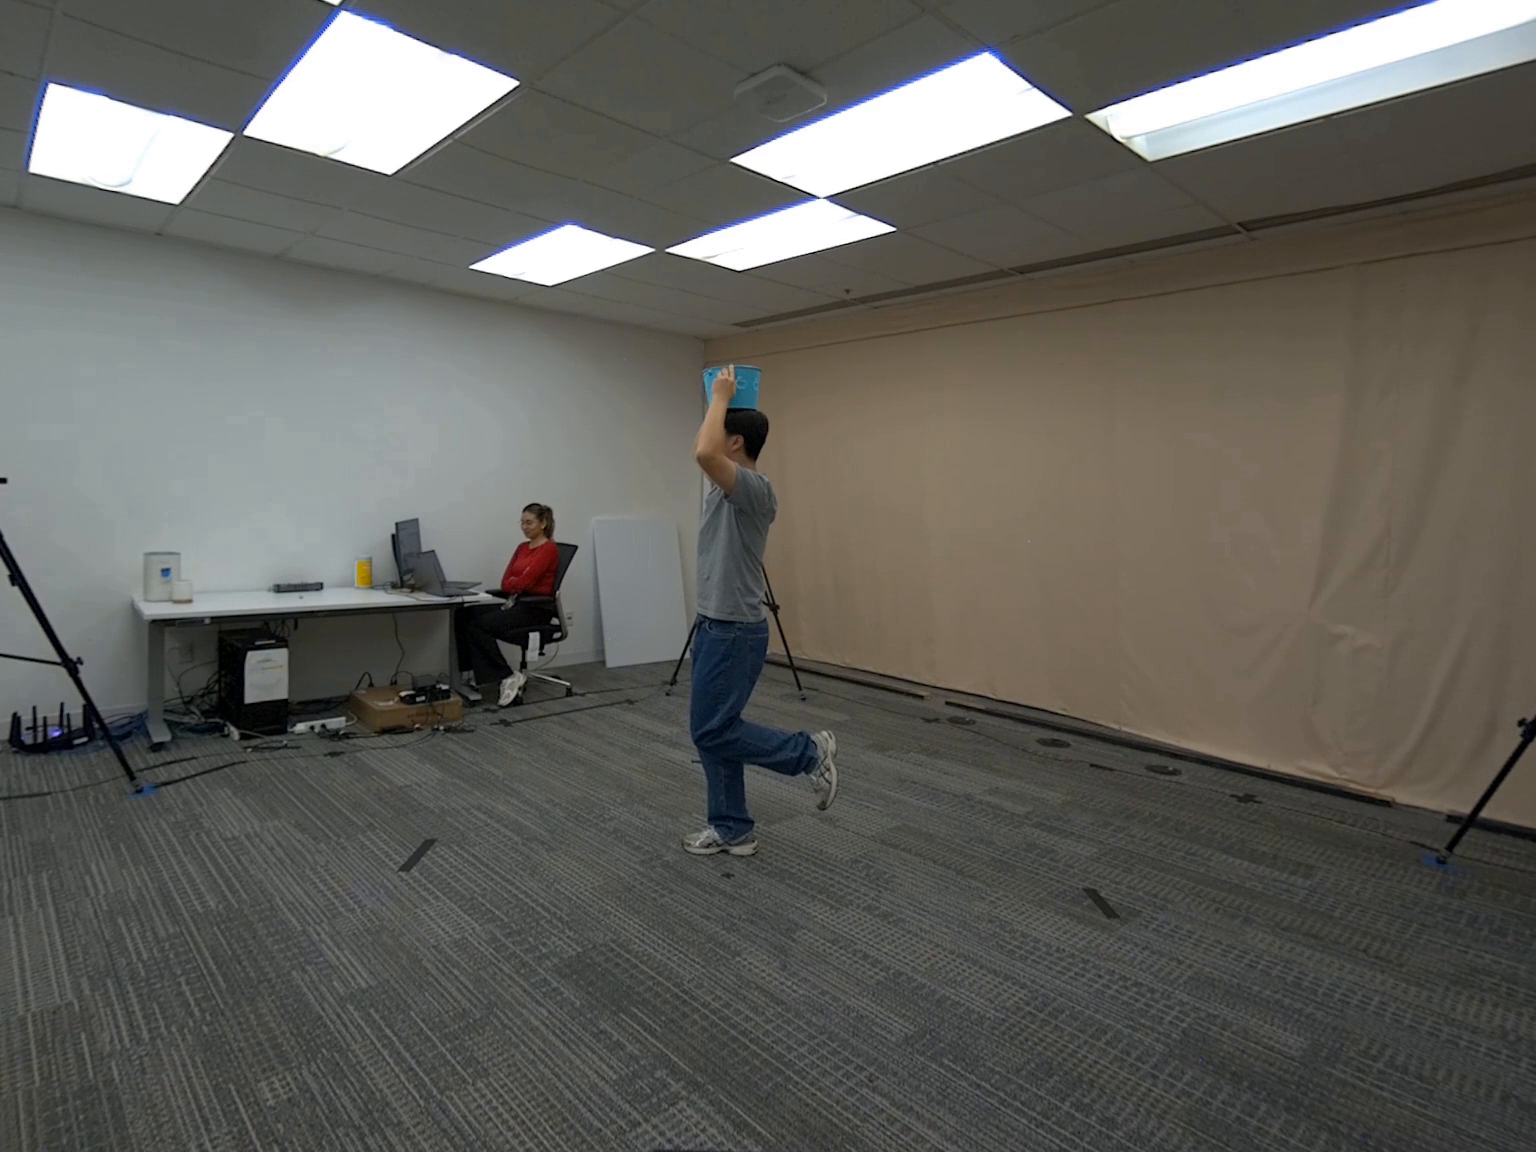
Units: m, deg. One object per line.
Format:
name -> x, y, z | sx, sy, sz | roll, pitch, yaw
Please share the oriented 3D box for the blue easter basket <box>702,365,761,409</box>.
blue easter basket -> -0.141, -0.705, 3.230 | 0.243, 0.155, 0.244 | -1, 3, -1
